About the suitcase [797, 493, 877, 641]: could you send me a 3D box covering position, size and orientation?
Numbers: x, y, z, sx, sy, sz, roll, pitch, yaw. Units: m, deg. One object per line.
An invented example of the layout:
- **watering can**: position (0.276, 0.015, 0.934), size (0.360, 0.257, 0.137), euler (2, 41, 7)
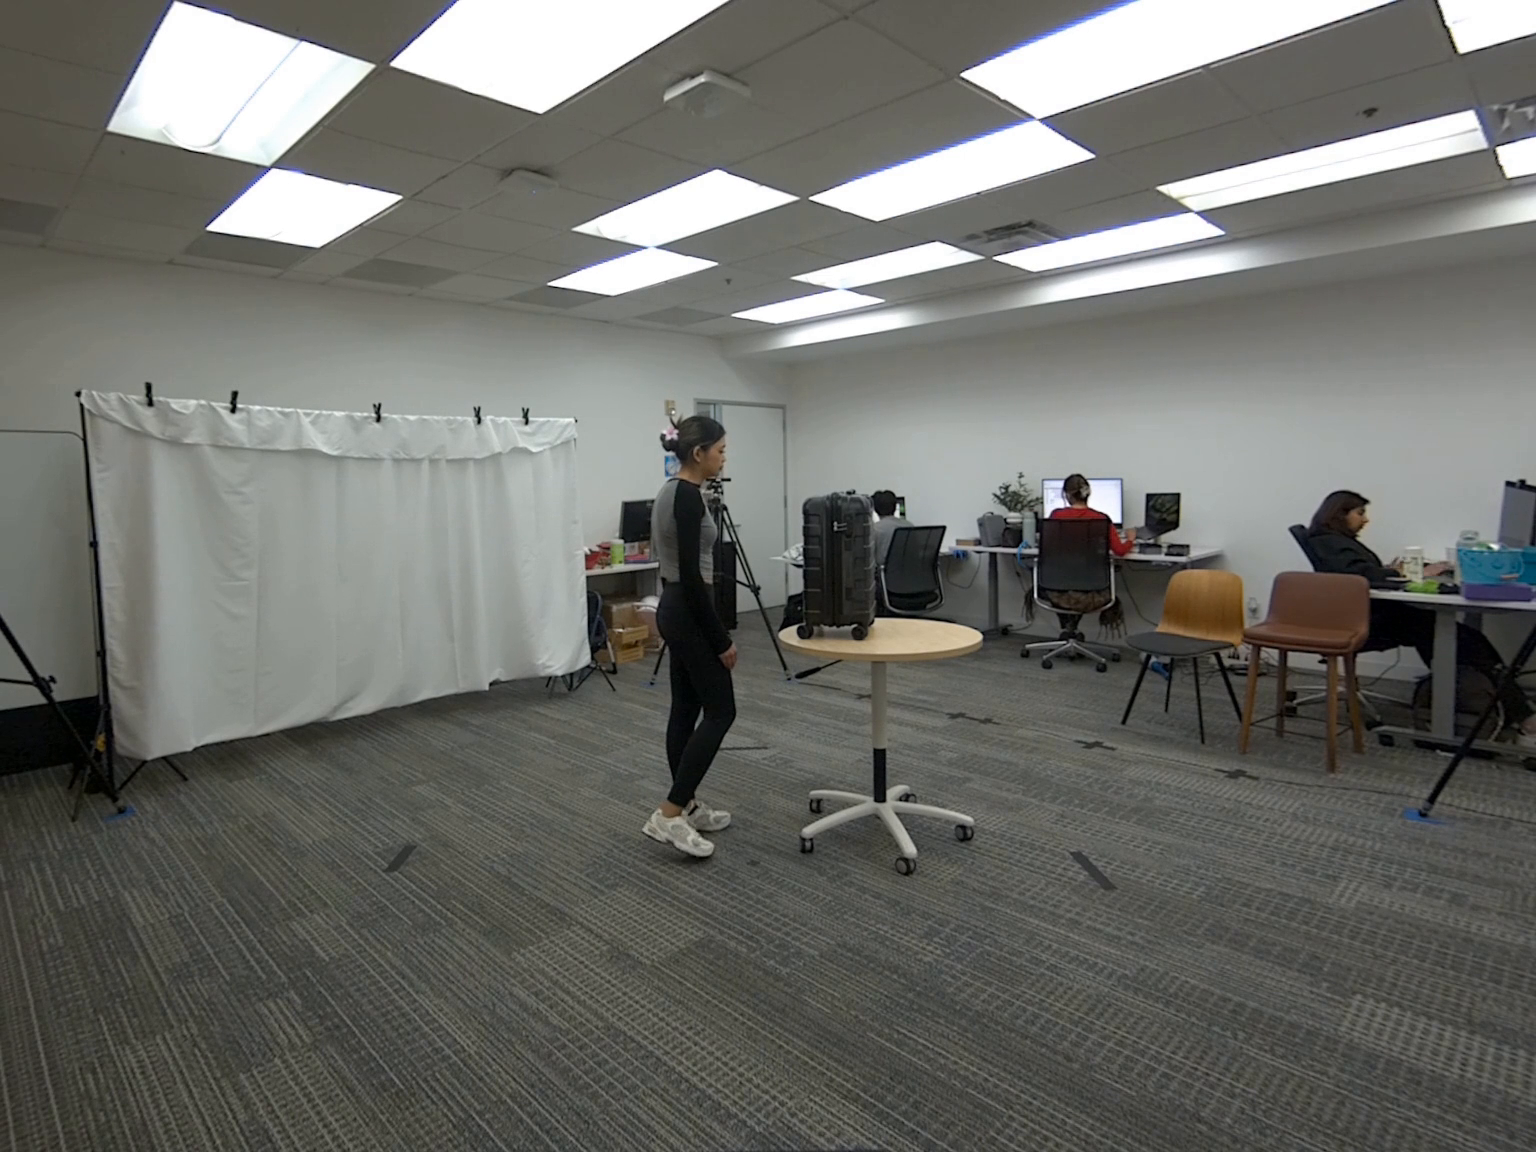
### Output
- **suitcase**: position (0.271, -0.056, 3.295), size (0.251, 0.547, 0.372), euler (0, 5, 11)
